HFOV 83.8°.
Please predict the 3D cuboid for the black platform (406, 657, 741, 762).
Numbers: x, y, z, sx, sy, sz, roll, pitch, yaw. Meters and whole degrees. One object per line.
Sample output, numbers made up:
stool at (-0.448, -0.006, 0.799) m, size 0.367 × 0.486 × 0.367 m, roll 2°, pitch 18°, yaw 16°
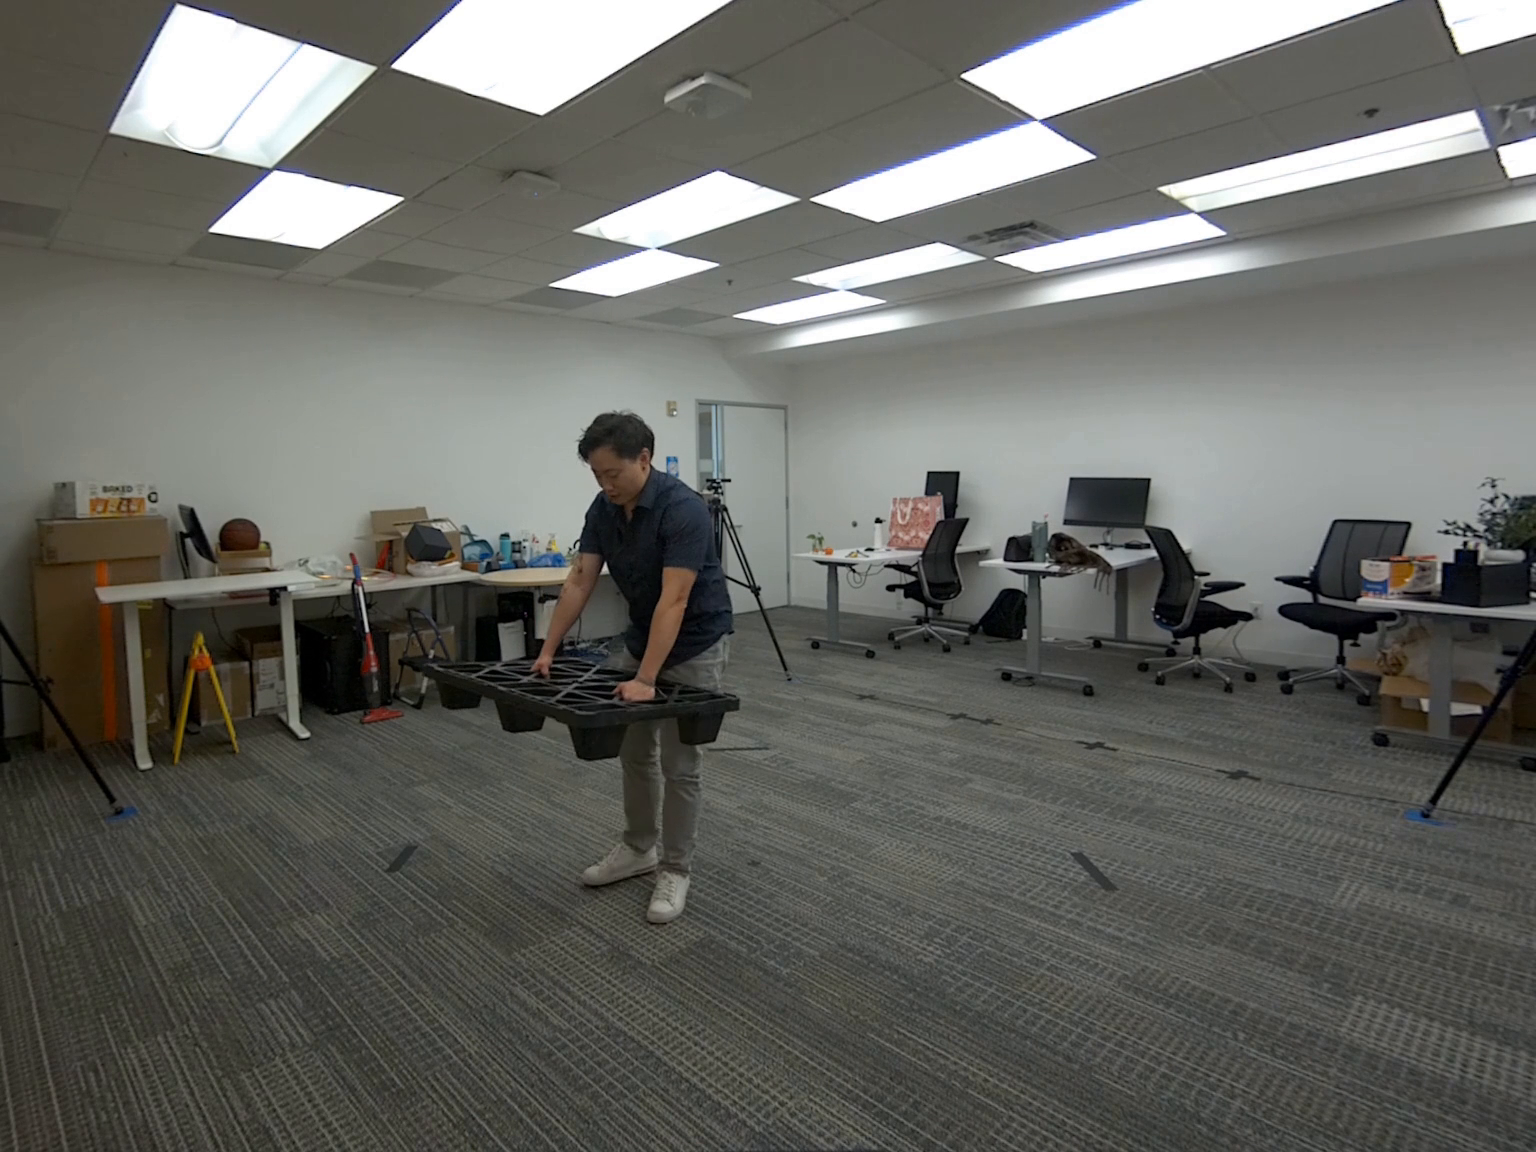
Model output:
black platform at (-0.575, 0.383, 2.568) m, size 0.831 × 0.143 × 0.586 m, roll 7°, pitch 2°, yaw 42°
